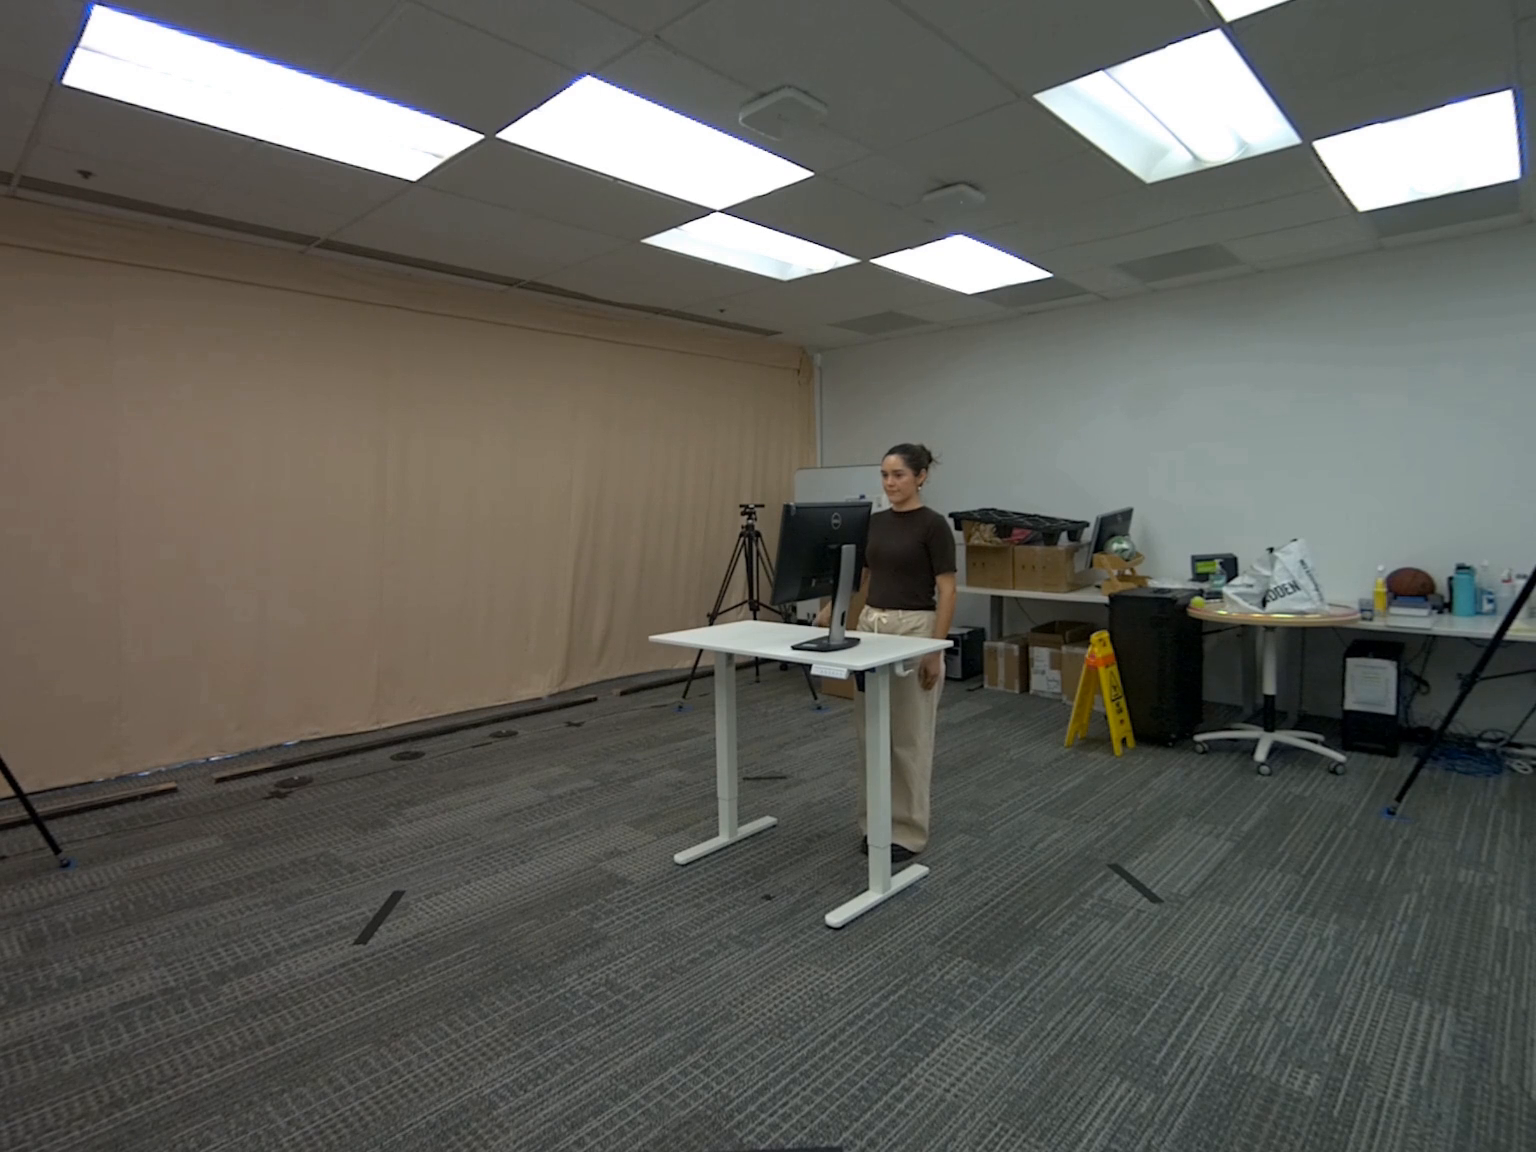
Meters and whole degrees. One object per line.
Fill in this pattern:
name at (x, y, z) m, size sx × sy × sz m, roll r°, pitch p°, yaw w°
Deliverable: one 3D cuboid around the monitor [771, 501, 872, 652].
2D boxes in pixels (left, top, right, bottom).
monitor at (0.224, -0.001, 2.994) m, size 0.193 × 0.522 × 0.523 m, roll 0°, pitch 3°, yaw 41°
